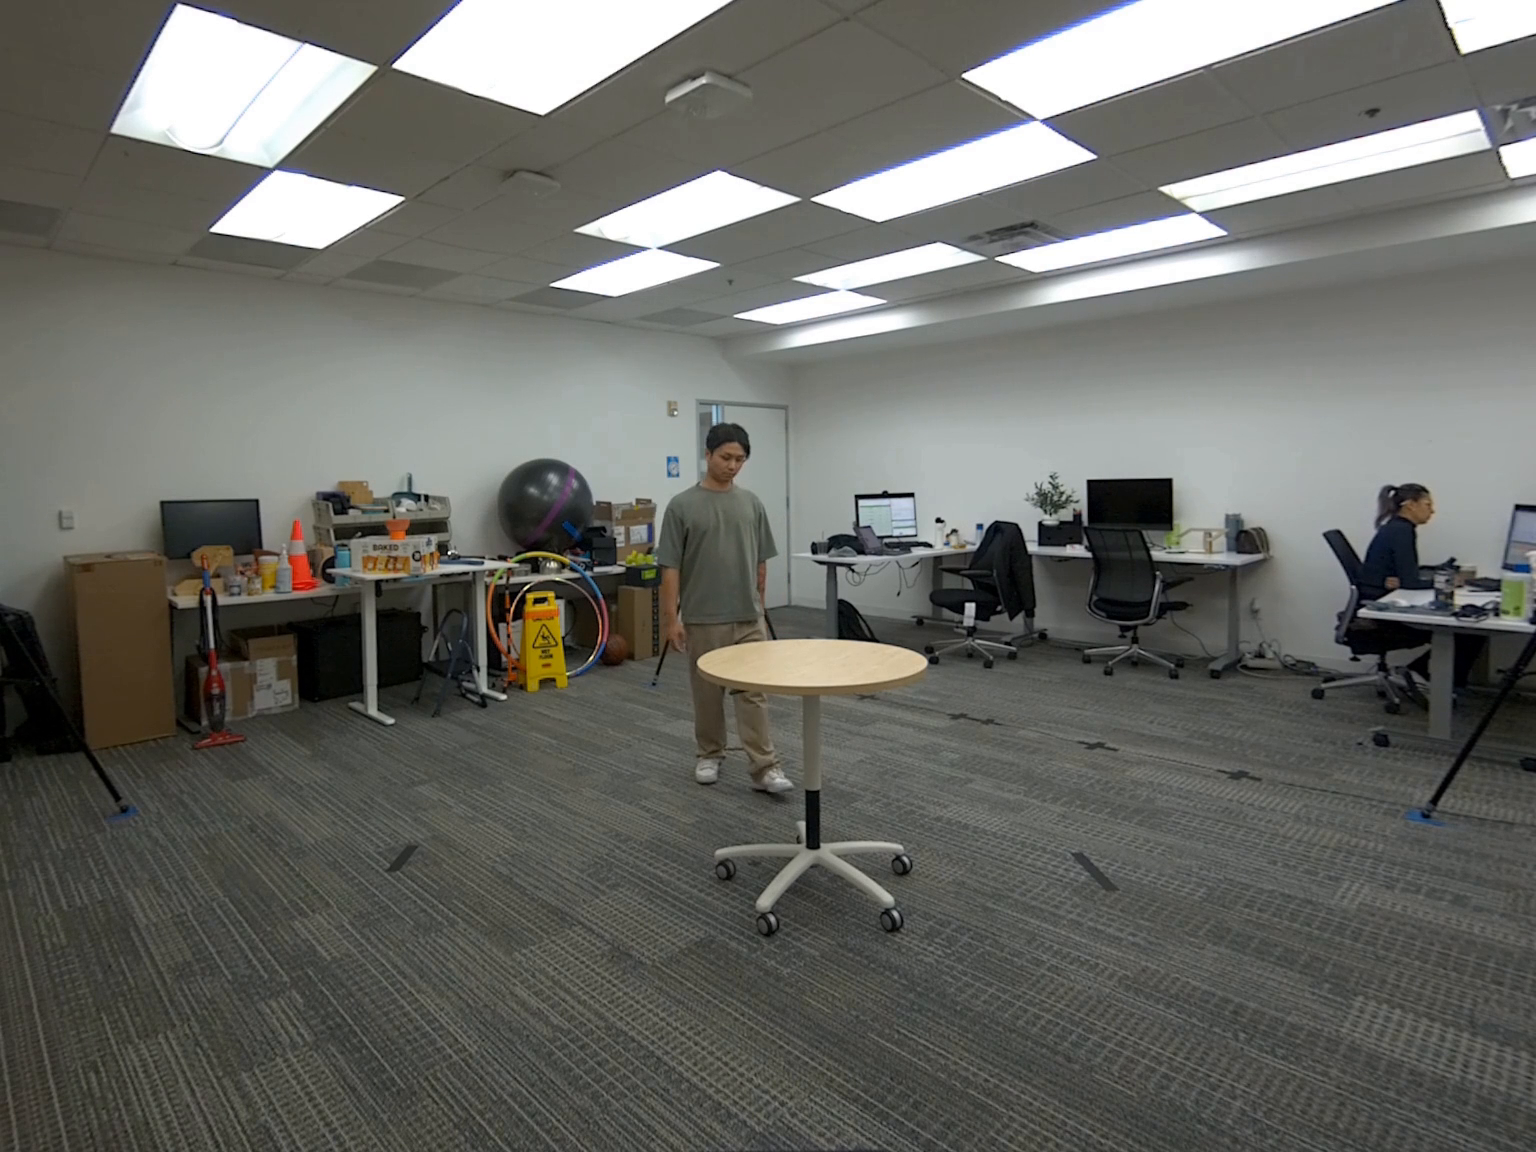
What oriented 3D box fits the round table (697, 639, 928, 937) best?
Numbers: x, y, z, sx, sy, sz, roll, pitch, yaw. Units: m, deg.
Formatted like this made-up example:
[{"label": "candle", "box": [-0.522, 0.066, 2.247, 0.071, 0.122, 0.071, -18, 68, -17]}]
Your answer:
[{"label": "round table", "box": [0.146, 0.671, 2.899, 0.784, 0.784, 0.789, -1, 4, -2]}]
